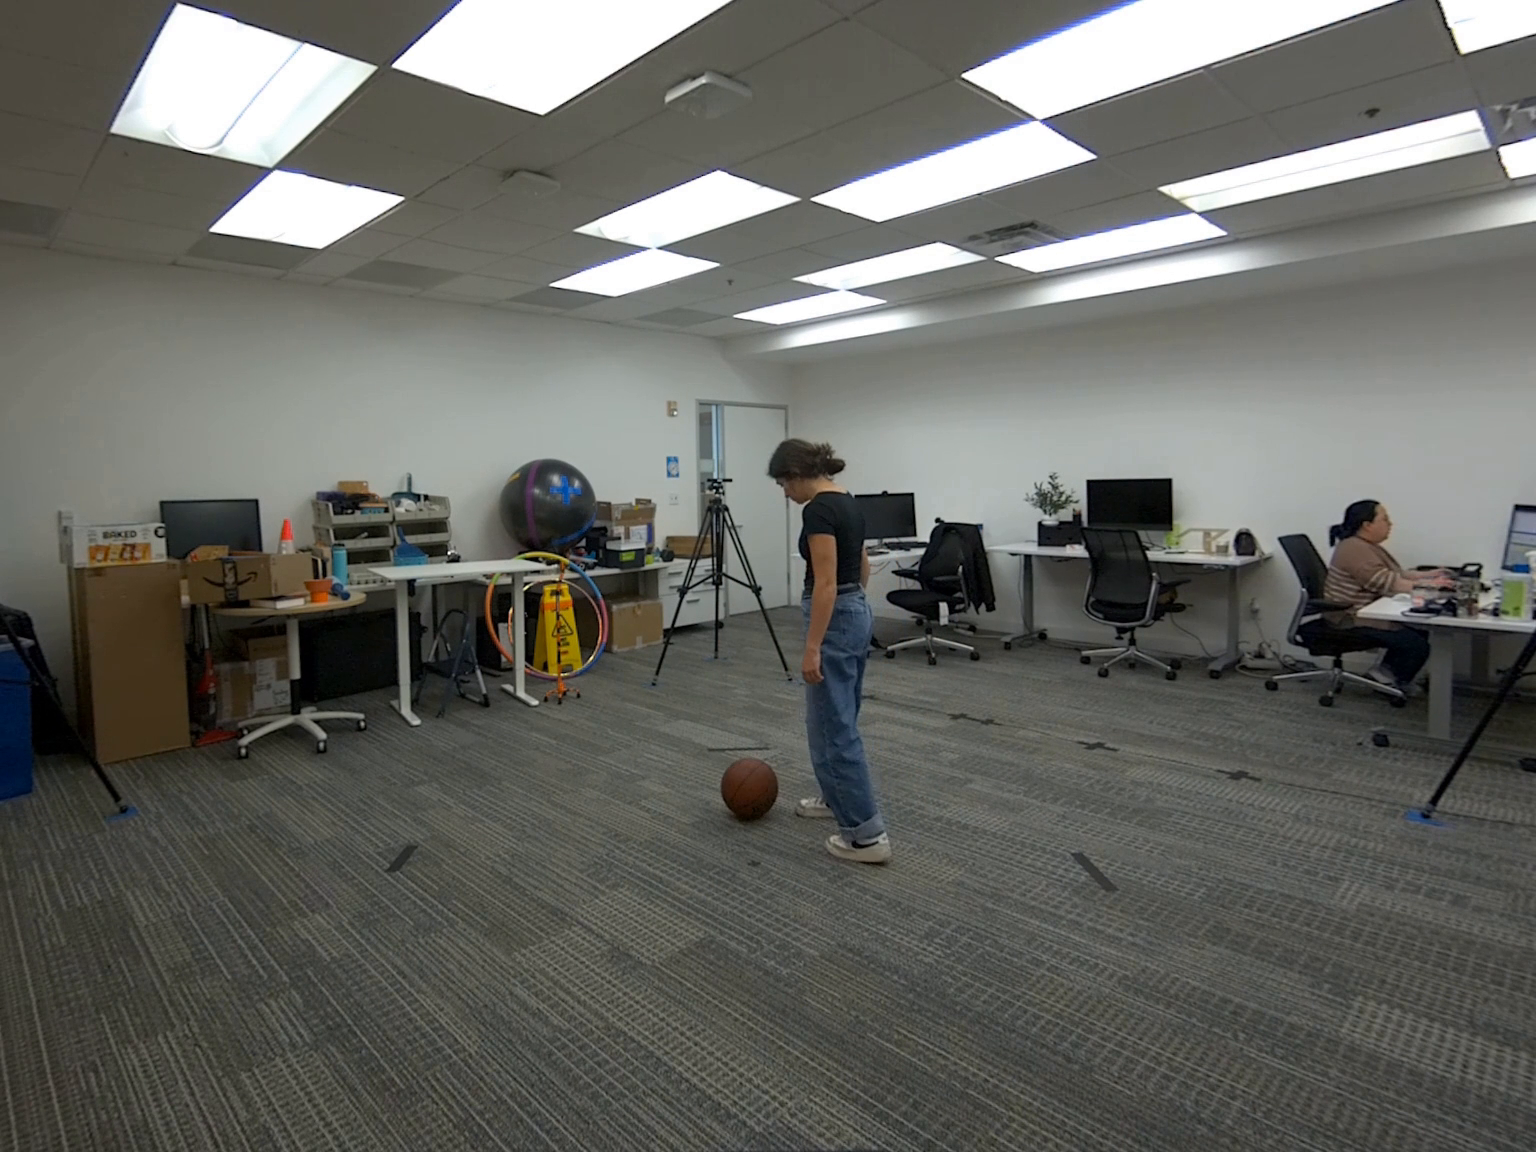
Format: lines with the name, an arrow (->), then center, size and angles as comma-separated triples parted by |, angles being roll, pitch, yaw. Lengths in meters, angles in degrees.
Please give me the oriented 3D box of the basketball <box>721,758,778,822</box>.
basketball -> -0.076, 0.875, 3.535 | 0.236, 0.235, 0.237 | -1, 5, -2
